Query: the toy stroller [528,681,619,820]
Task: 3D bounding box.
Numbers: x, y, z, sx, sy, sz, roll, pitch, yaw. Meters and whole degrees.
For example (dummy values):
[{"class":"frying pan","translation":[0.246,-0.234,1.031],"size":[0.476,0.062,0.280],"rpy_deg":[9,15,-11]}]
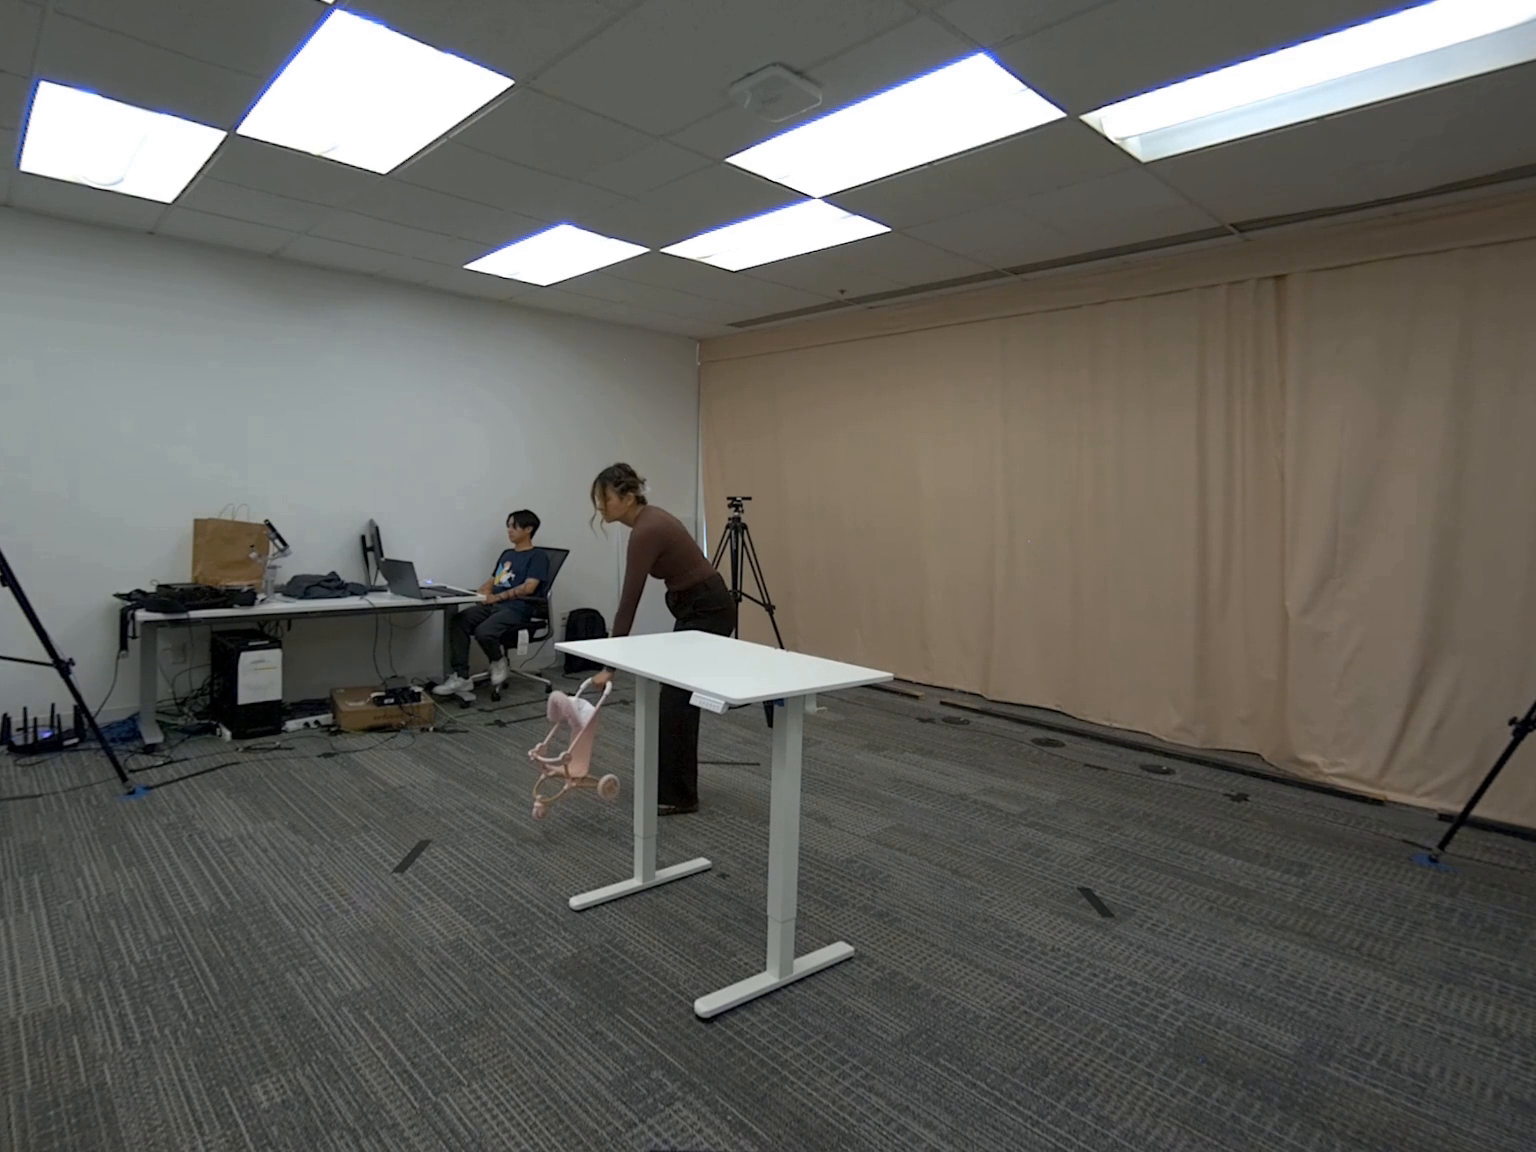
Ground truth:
[{"class":"toy stroller","translation":[-0.828,0.707,3.454],"size":[0.333,0.534,0.288],"rpy_deg":[-1,2,-38]}]
